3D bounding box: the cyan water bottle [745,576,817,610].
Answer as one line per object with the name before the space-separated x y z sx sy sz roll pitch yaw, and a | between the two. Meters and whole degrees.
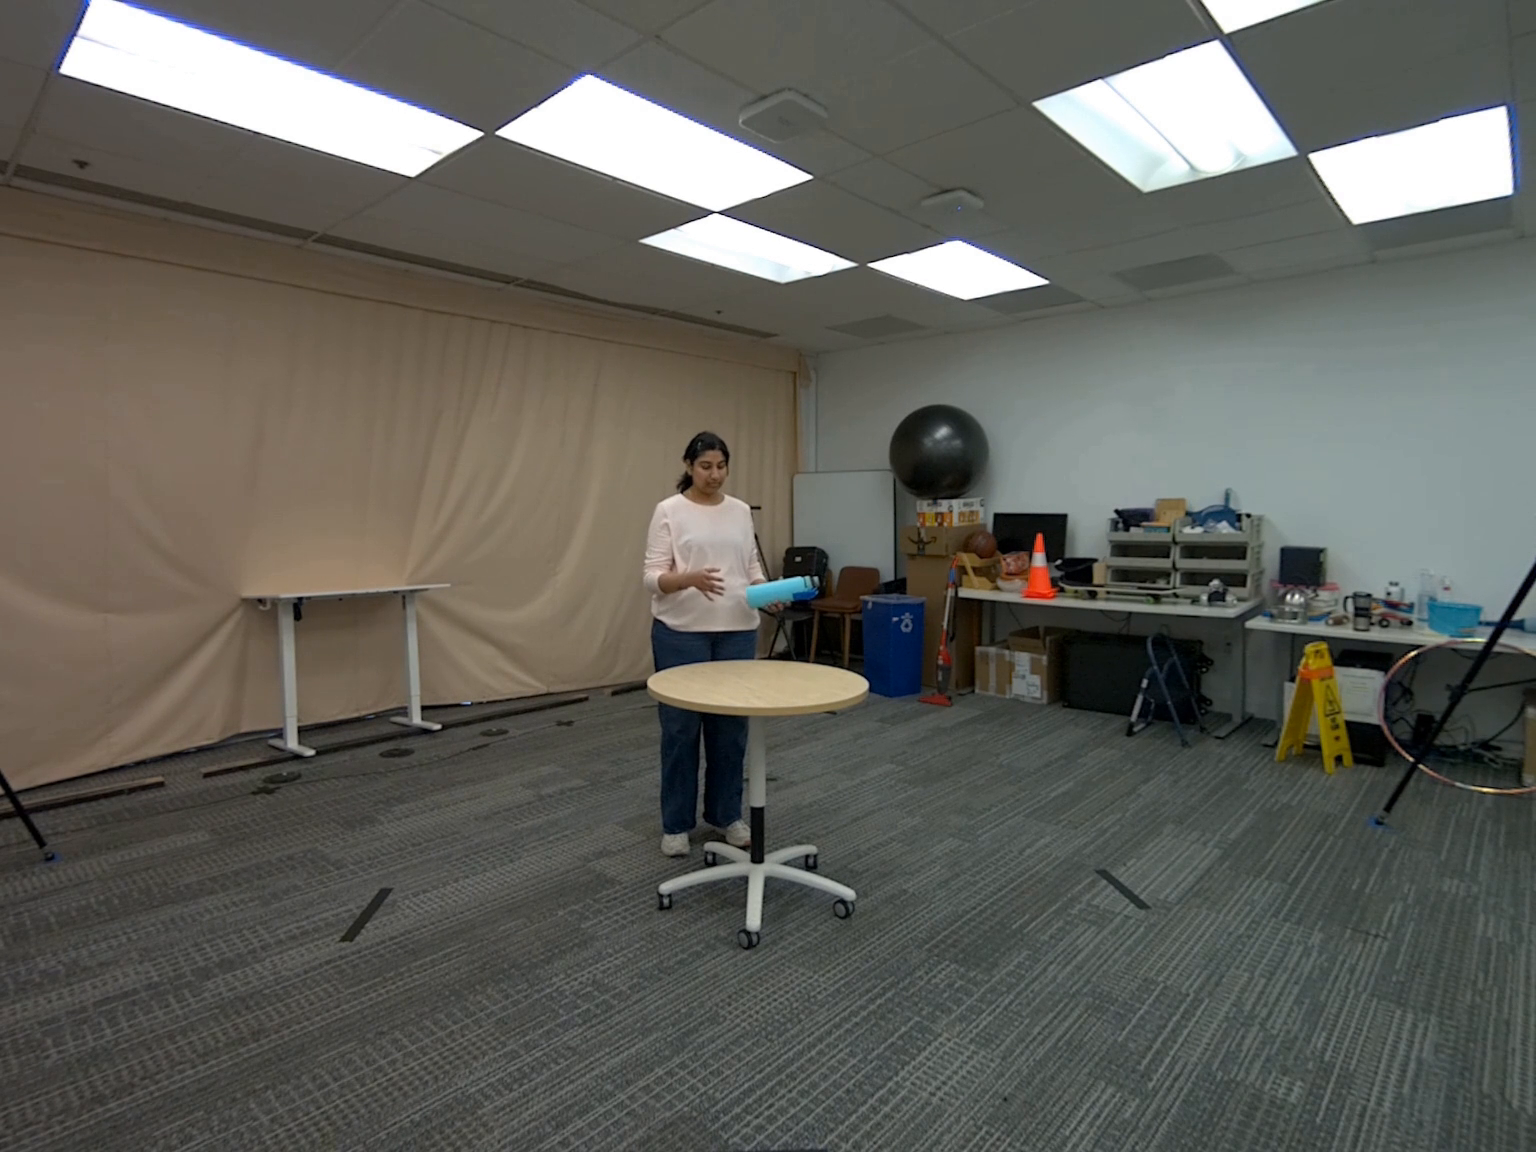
cyan water bottle | 0.067 0.062 3.276 0.286 0.092 0.091 -11 2 11
